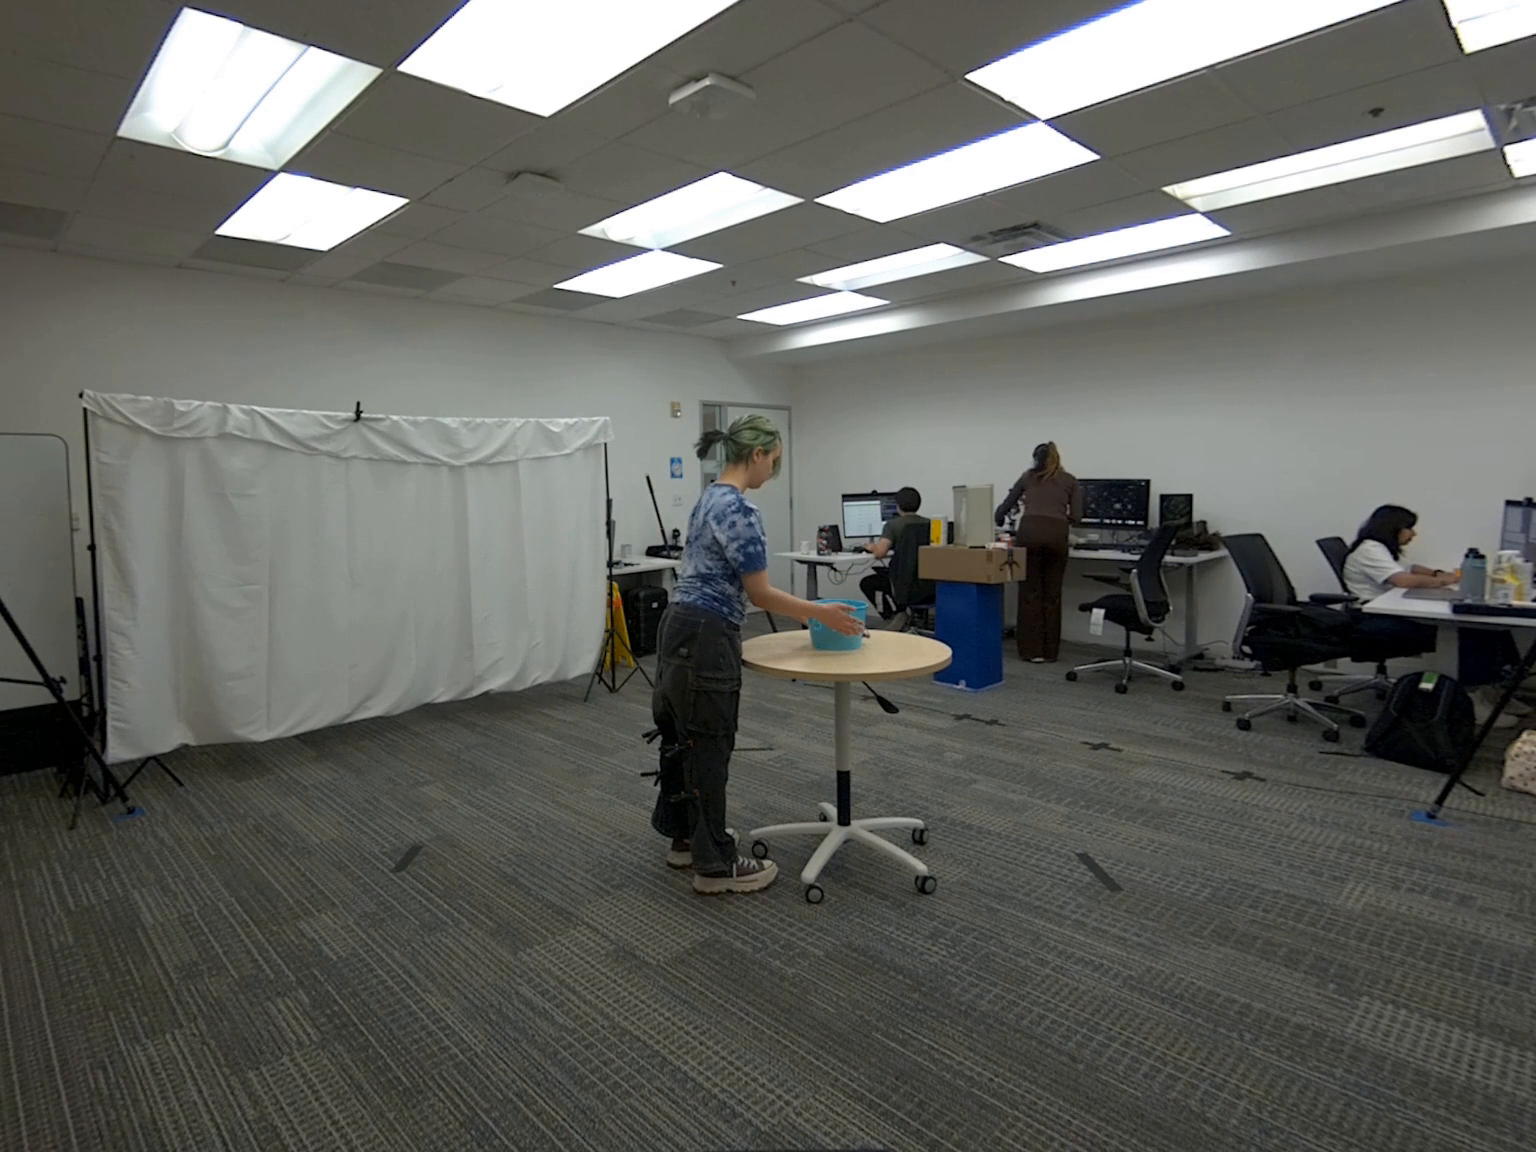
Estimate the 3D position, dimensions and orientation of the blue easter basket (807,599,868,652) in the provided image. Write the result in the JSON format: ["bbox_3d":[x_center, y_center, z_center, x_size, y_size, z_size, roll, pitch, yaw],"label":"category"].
[{"bbox_3d":[0.241,0.185,3.119,0.243,0.155,0.245,-4,6,-1],"label":"blue easter basket"}]
